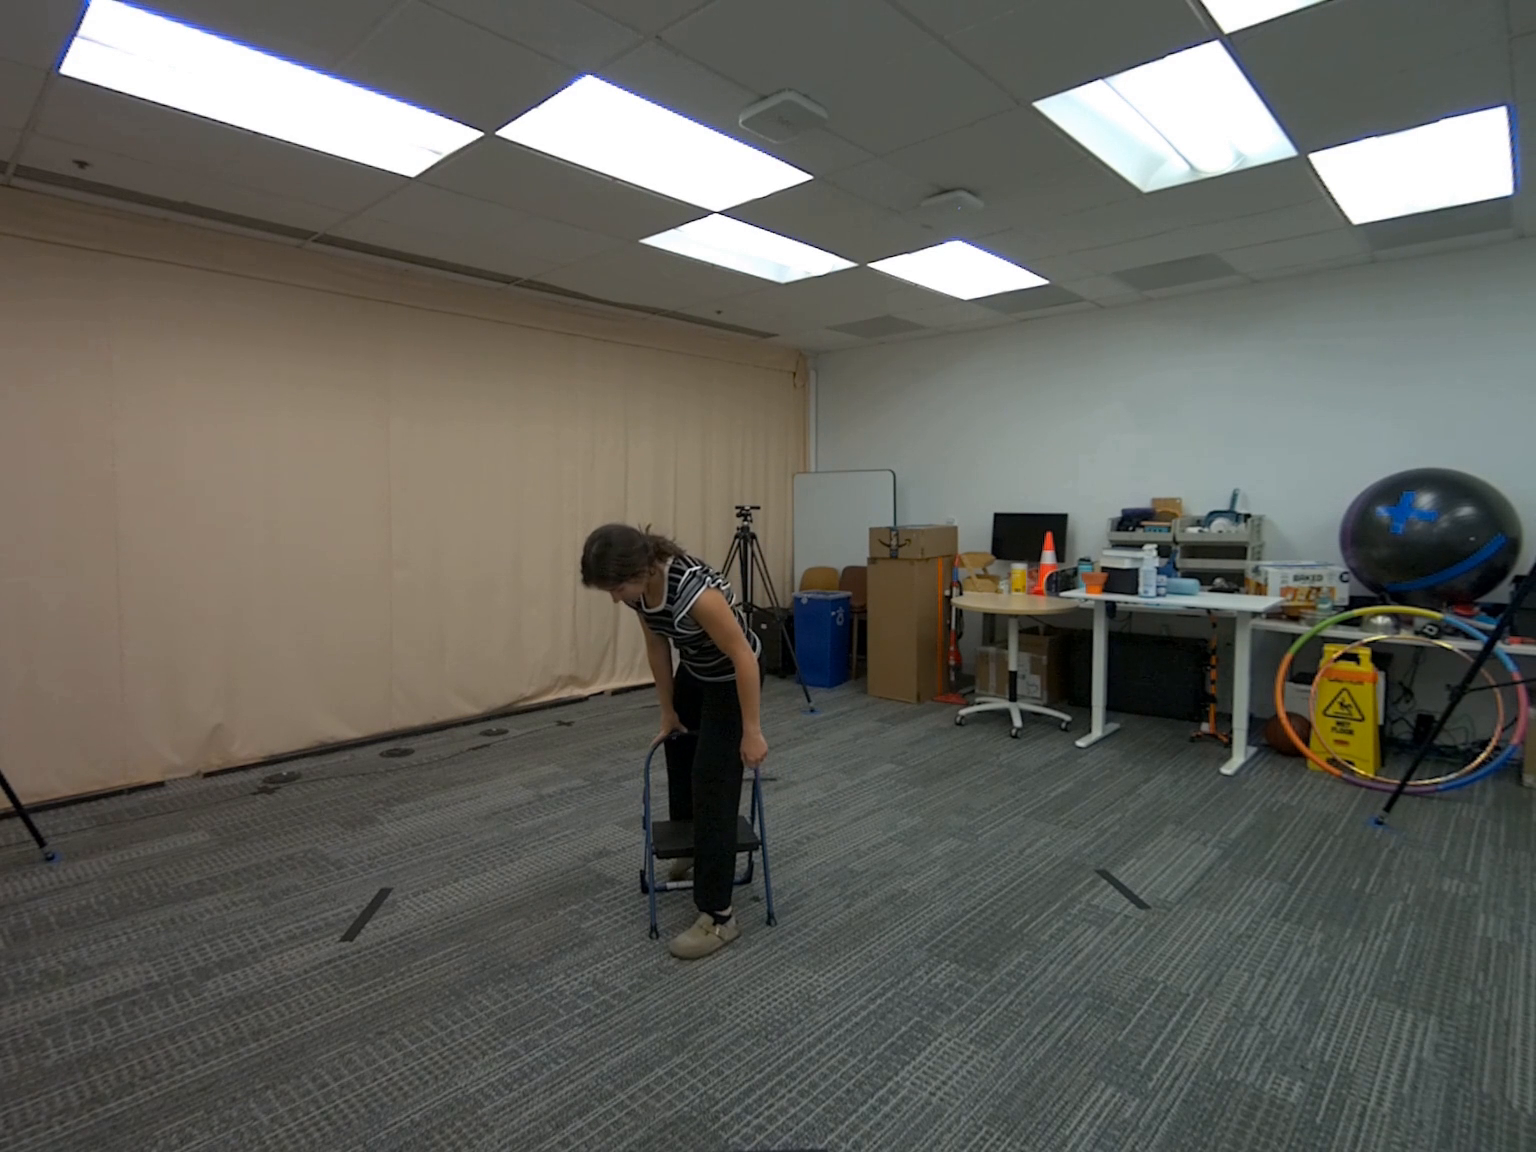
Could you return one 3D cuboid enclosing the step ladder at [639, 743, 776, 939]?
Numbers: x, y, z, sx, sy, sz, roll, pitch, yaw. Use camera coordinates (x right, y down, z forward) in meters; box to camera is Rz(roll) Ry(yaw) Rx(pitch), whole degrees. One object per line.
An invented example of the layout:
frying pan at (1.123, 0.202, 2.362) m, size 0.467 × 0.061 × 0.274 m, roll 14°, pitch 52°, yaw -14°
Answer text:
step ladder at (-0.220, 0.852, 2.906) m, size 0.425 × 0.605 × 0.355 m, roll -2°, pitch 4°, yaw -13°
